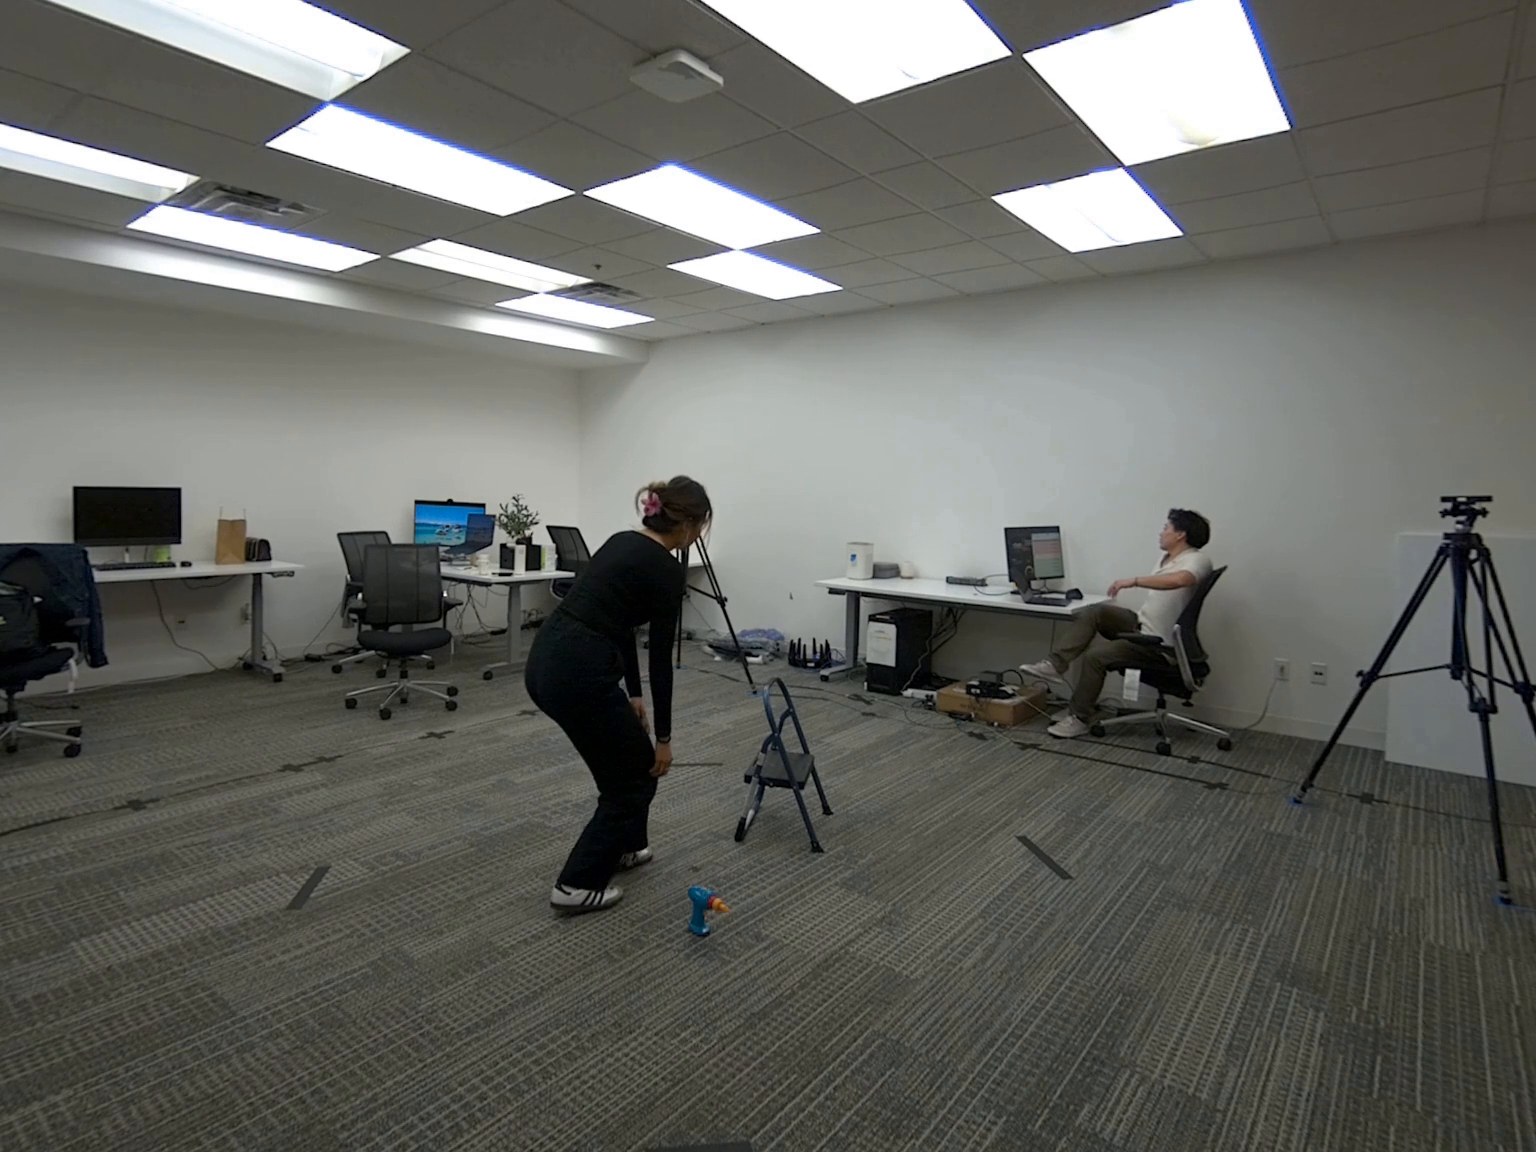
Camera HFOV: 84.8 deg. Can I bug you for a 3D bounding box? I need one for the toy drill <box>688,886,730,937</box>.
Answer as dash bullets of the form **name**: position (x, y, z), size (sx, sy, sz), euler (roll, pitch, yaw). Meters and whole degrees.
- **toy drill**: position (-0.190, 1.039, 2.633), size (0.176, 0.146, 0.059), euler (6, 4, 40)
